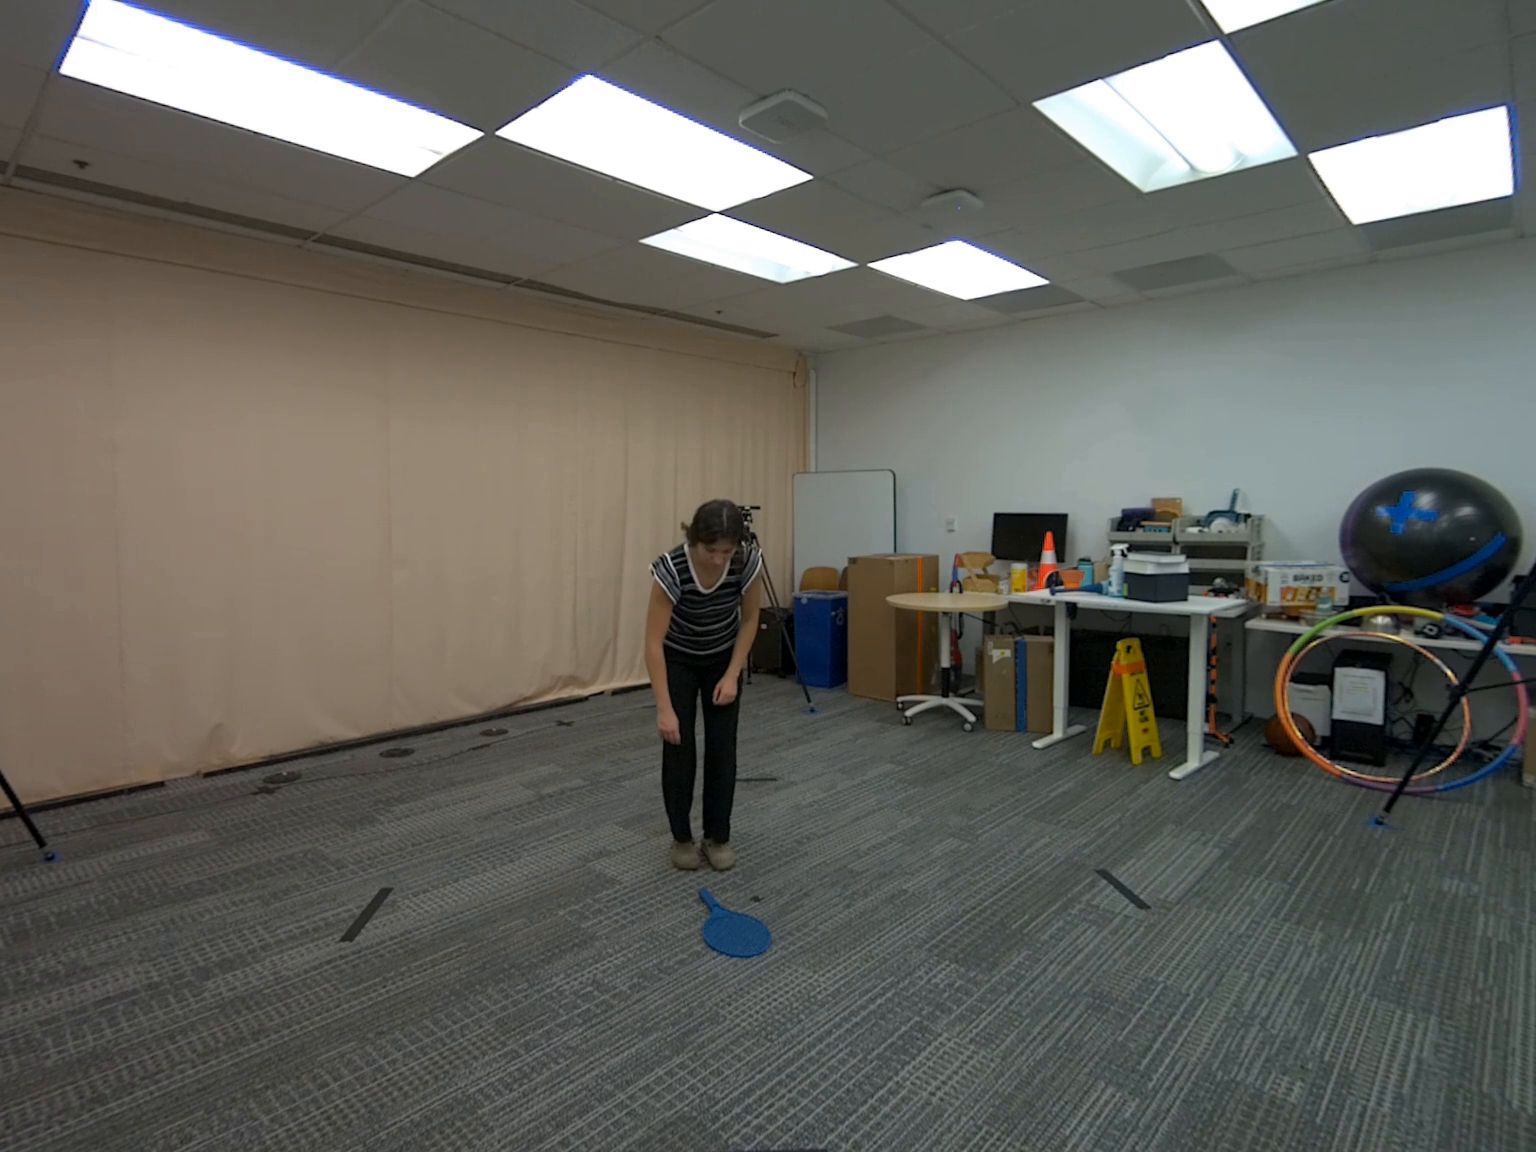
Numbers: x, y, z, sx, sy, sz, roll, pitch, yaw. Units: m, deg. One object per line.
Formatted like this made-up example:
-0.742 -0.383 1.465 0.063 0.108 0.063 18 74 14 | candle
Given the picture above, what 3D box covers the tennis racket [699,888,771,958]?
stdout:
-0.132 1.145 2.800 0.209 0.031 0.444 -2 6 -24 | tennis racket
